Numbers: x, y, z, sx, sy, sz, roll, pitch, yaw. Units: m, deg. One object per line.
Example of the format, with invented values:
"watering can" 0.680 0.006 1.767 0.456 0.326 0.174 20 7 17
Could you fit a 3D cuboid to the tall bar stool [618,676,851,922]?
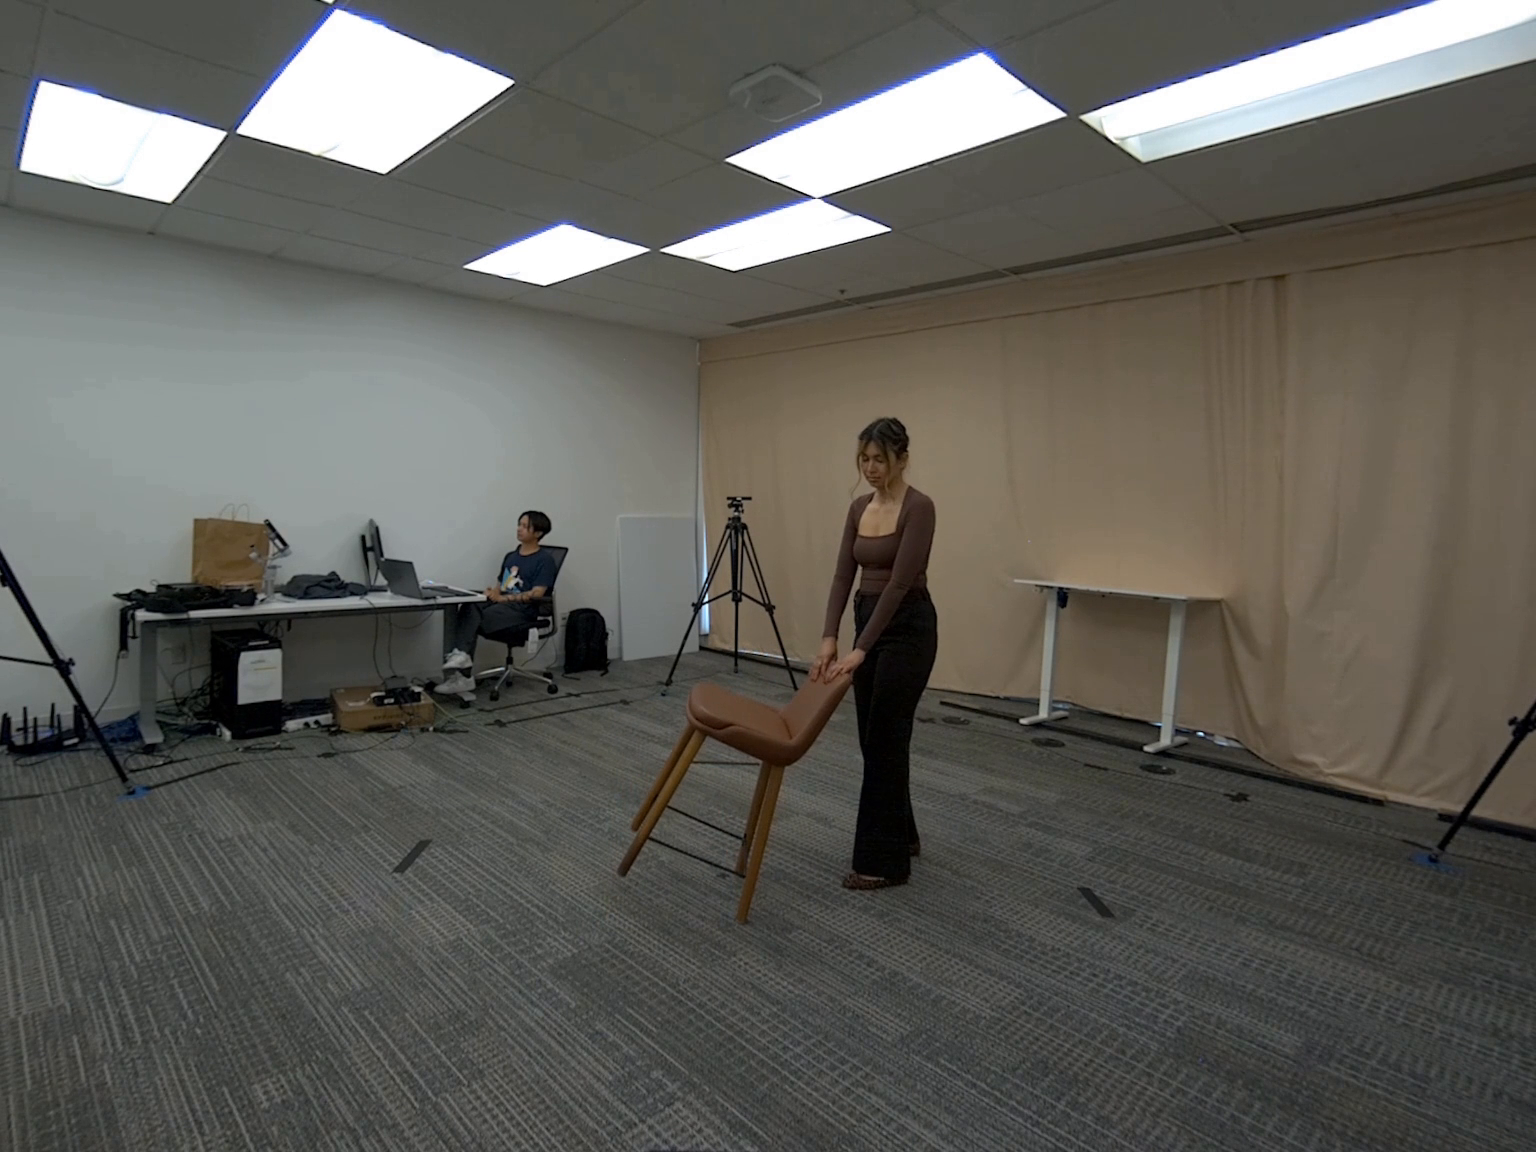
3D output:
"tall bar stool" -0.115 0.643 2.902 0.467 0.889 0.458 25 2 -2
